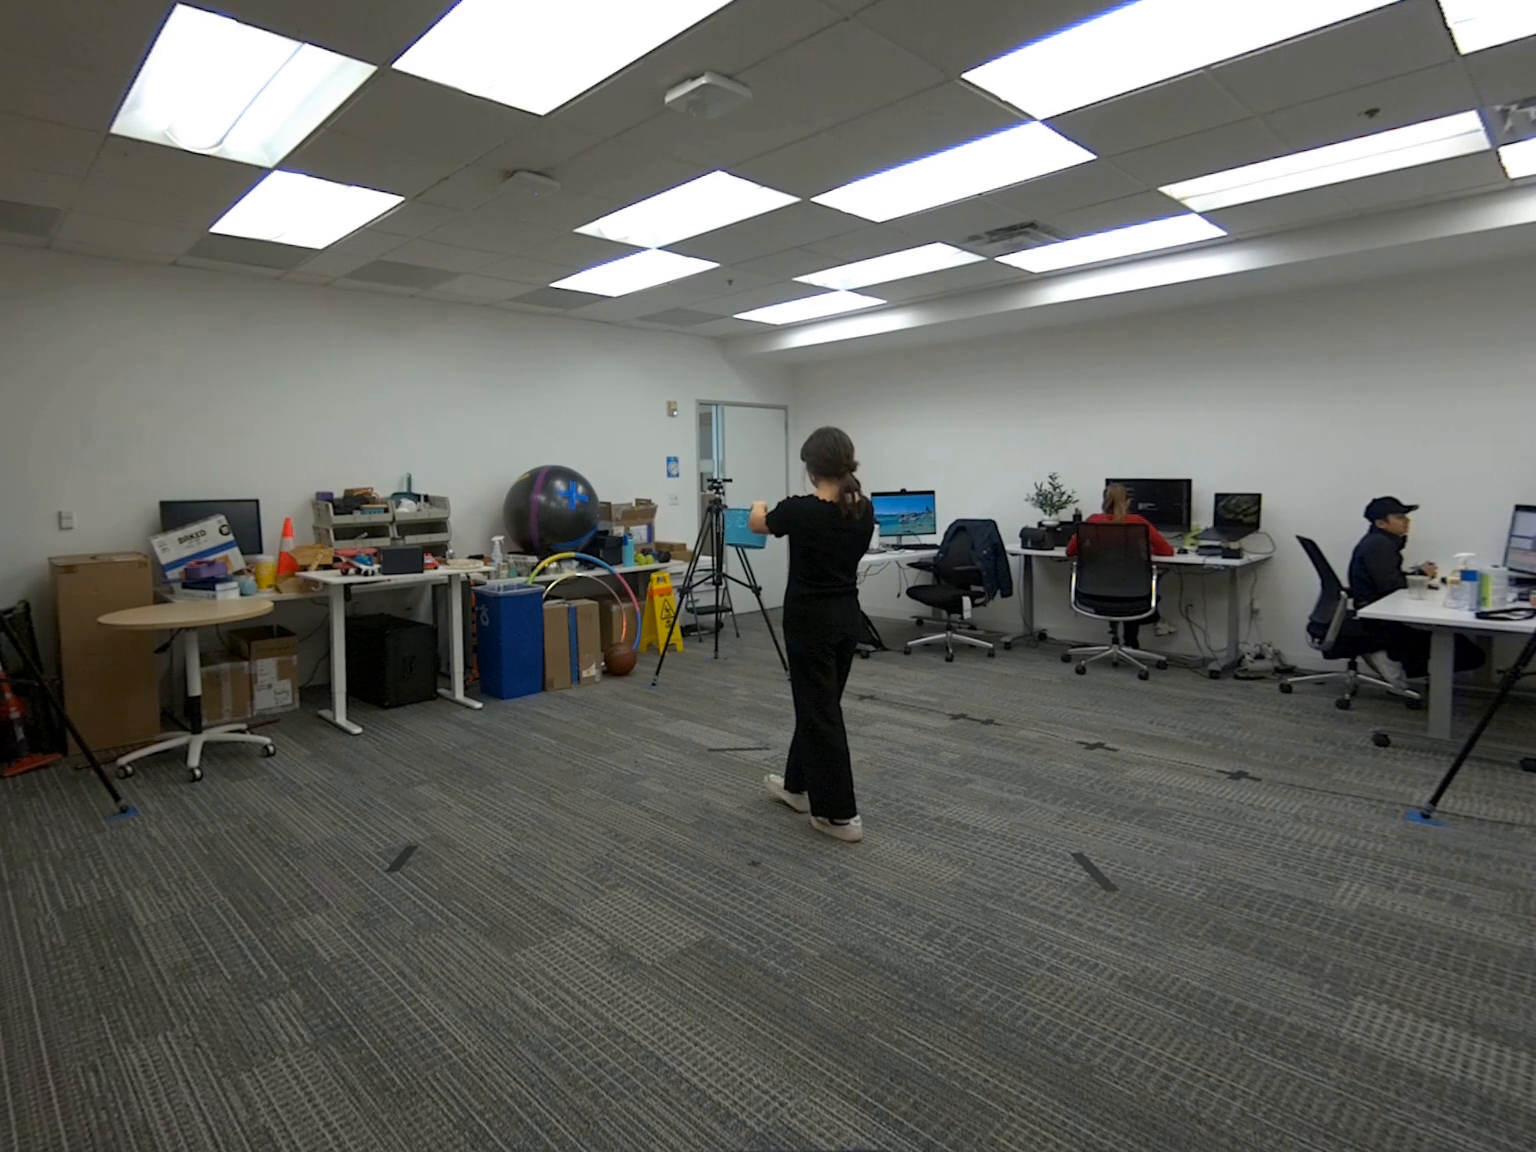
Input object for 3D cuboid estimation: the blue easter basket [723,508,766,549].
[{"bbox_3d":[-0.086,-0.215,3.851,0.243,0.156,0.243,6,-4,-1],"label":"blue easter basket"}]
